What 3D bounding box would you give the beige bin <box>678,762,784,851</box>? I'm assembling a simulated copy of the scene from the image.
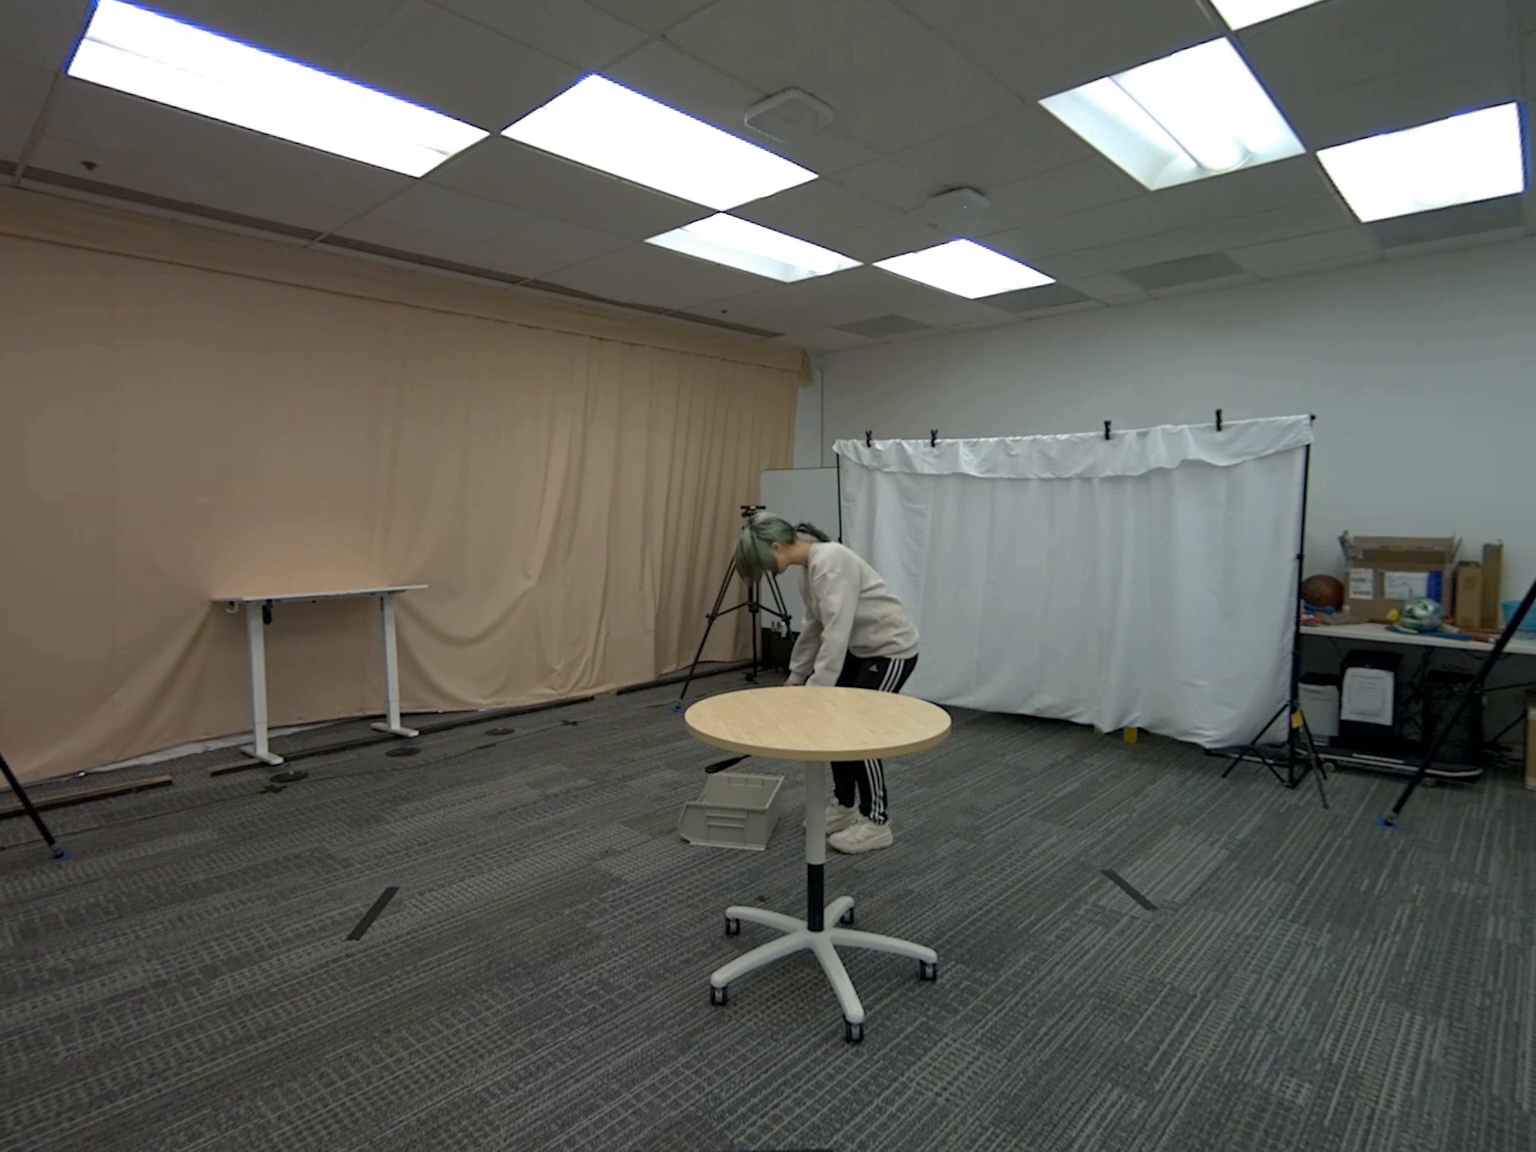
[{"bbox_3d":[-0.146,1.004,3.630,0.383,0.188,0.417,1,4,12],"label":"beige bin"}]
